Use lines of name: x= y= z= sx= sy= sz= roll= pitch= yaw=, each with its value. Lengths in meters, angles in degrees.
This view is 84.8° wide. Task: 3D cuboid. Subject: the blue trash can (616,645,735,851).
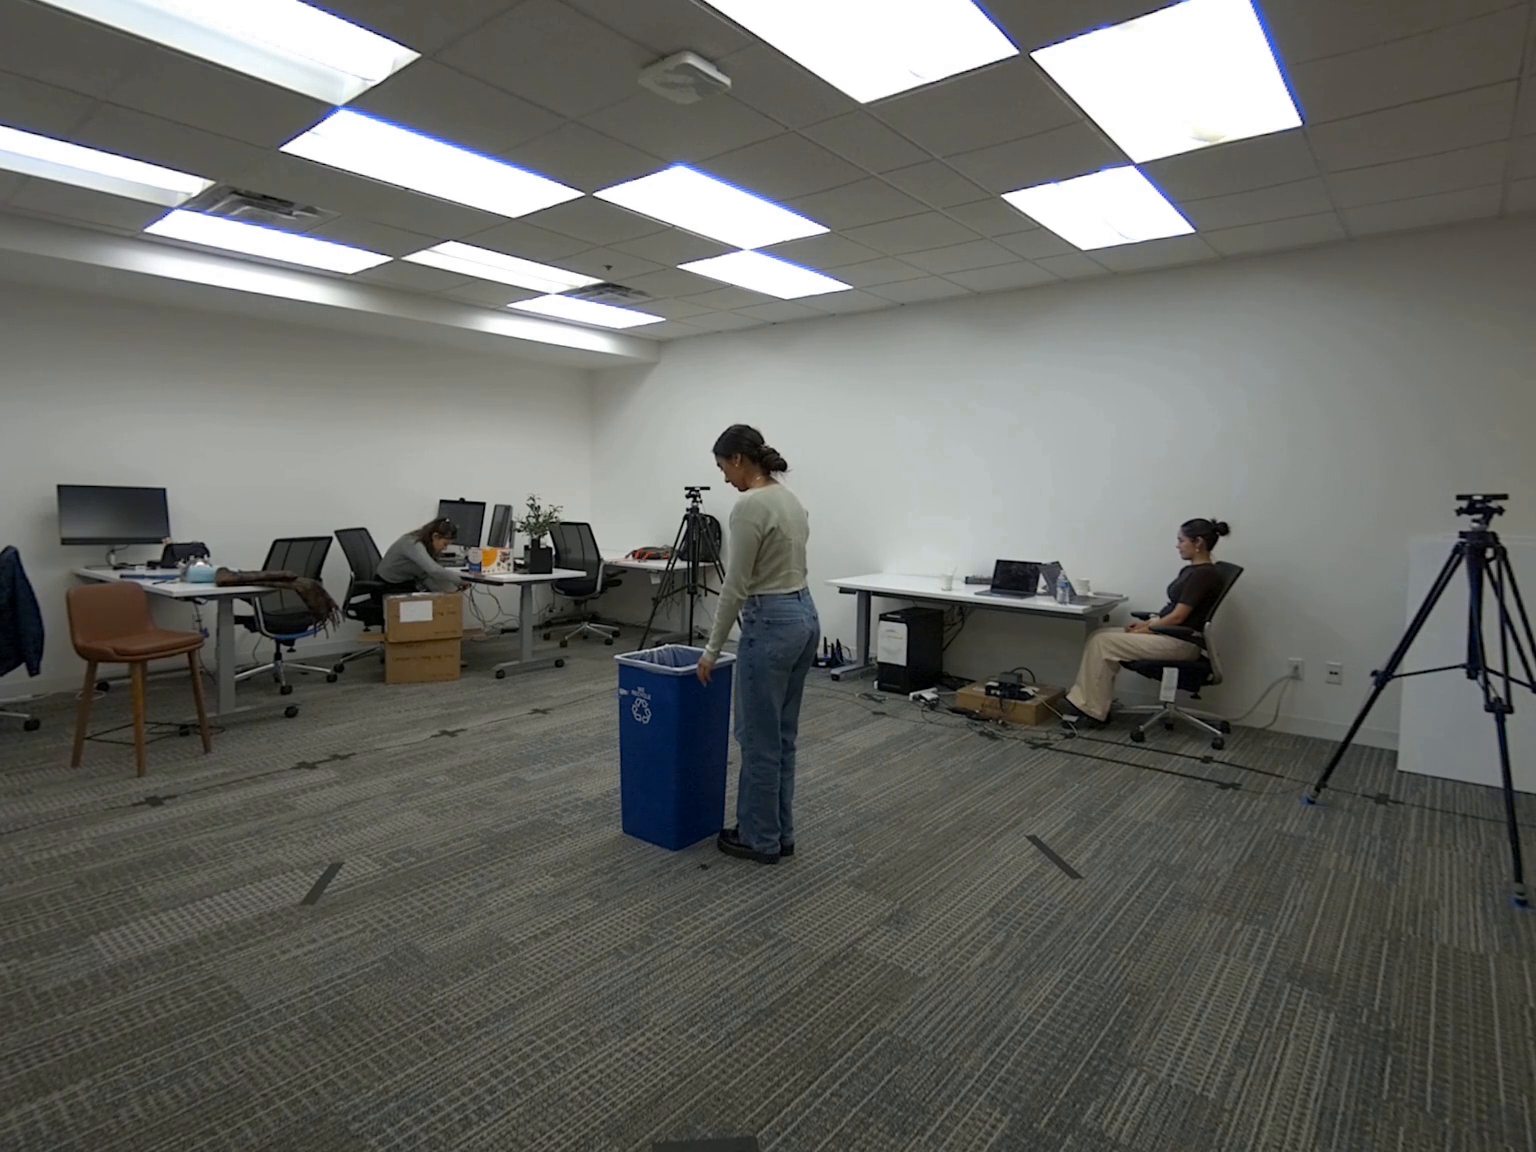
blue trash can: x=-0.380 y=0.673 z=3.430 sx=0.386 sy=0.711 sz=0.367 roll=3 pitch=4 yaw=37
